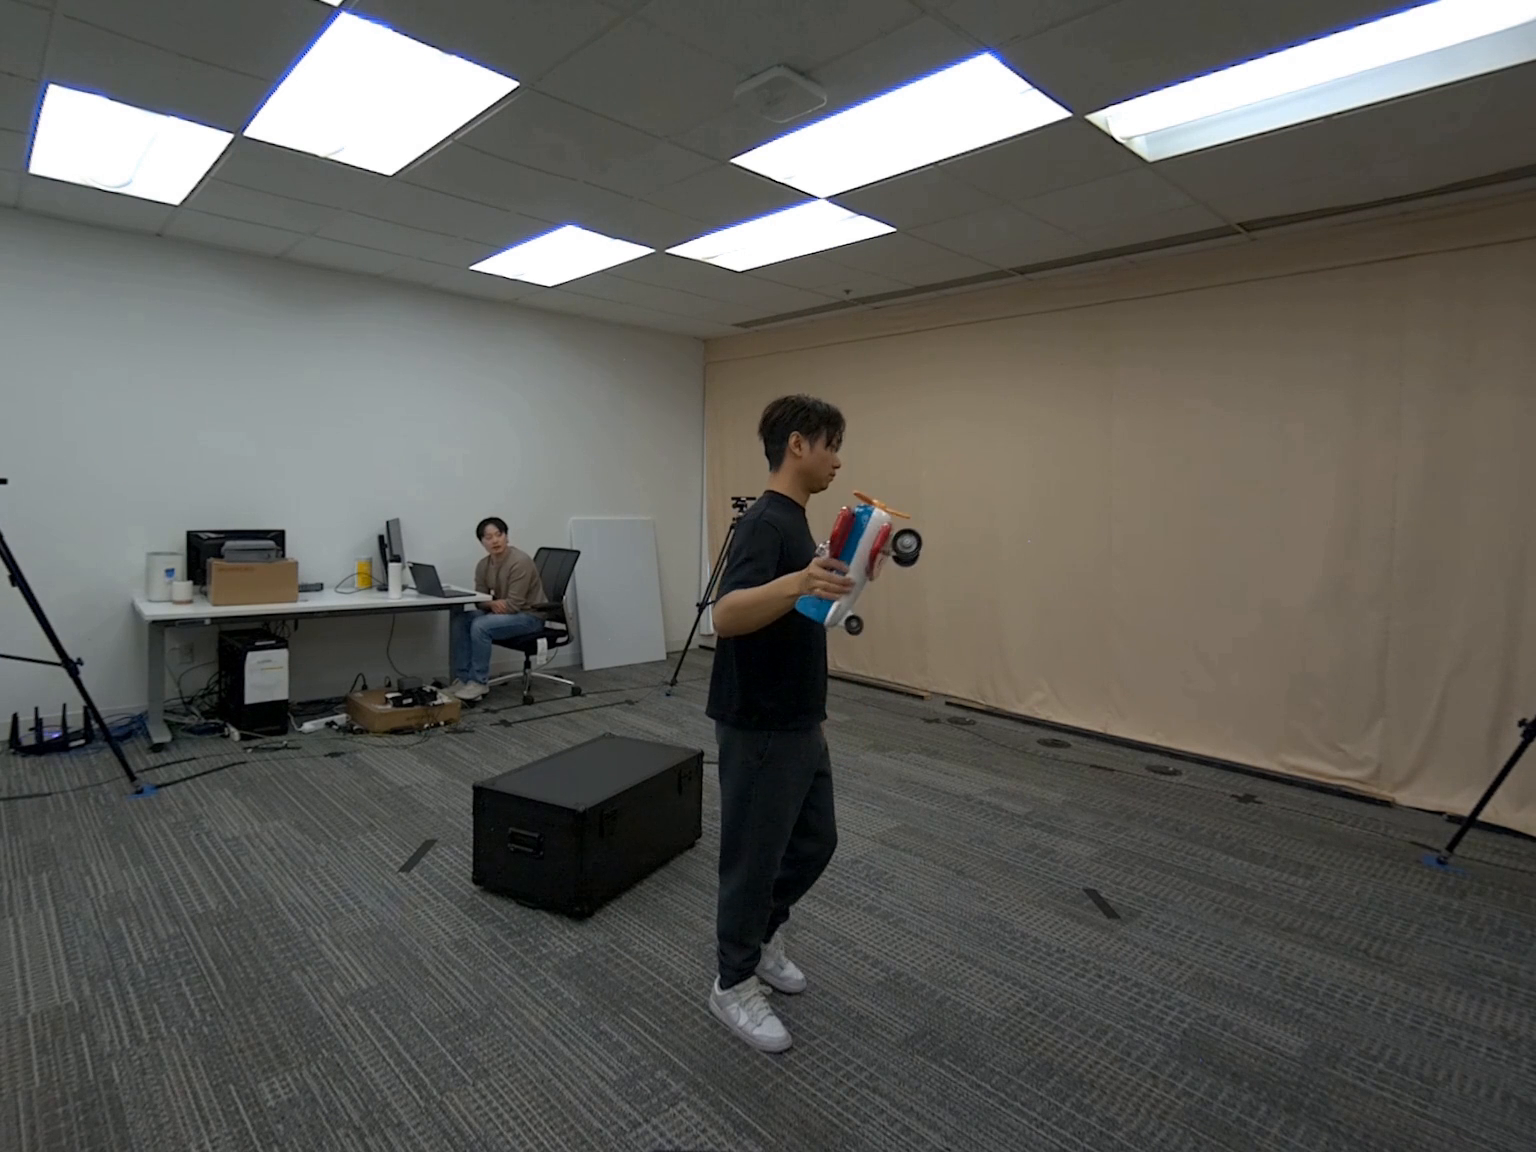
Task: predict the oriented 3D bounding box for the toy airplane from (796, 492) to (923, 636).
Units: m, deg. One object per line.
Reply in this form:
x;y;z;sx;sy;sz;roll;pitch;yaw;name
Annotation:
0.165;-0.025;1.577;0.159;0.247;0.258;38;57;14;toy airplane
